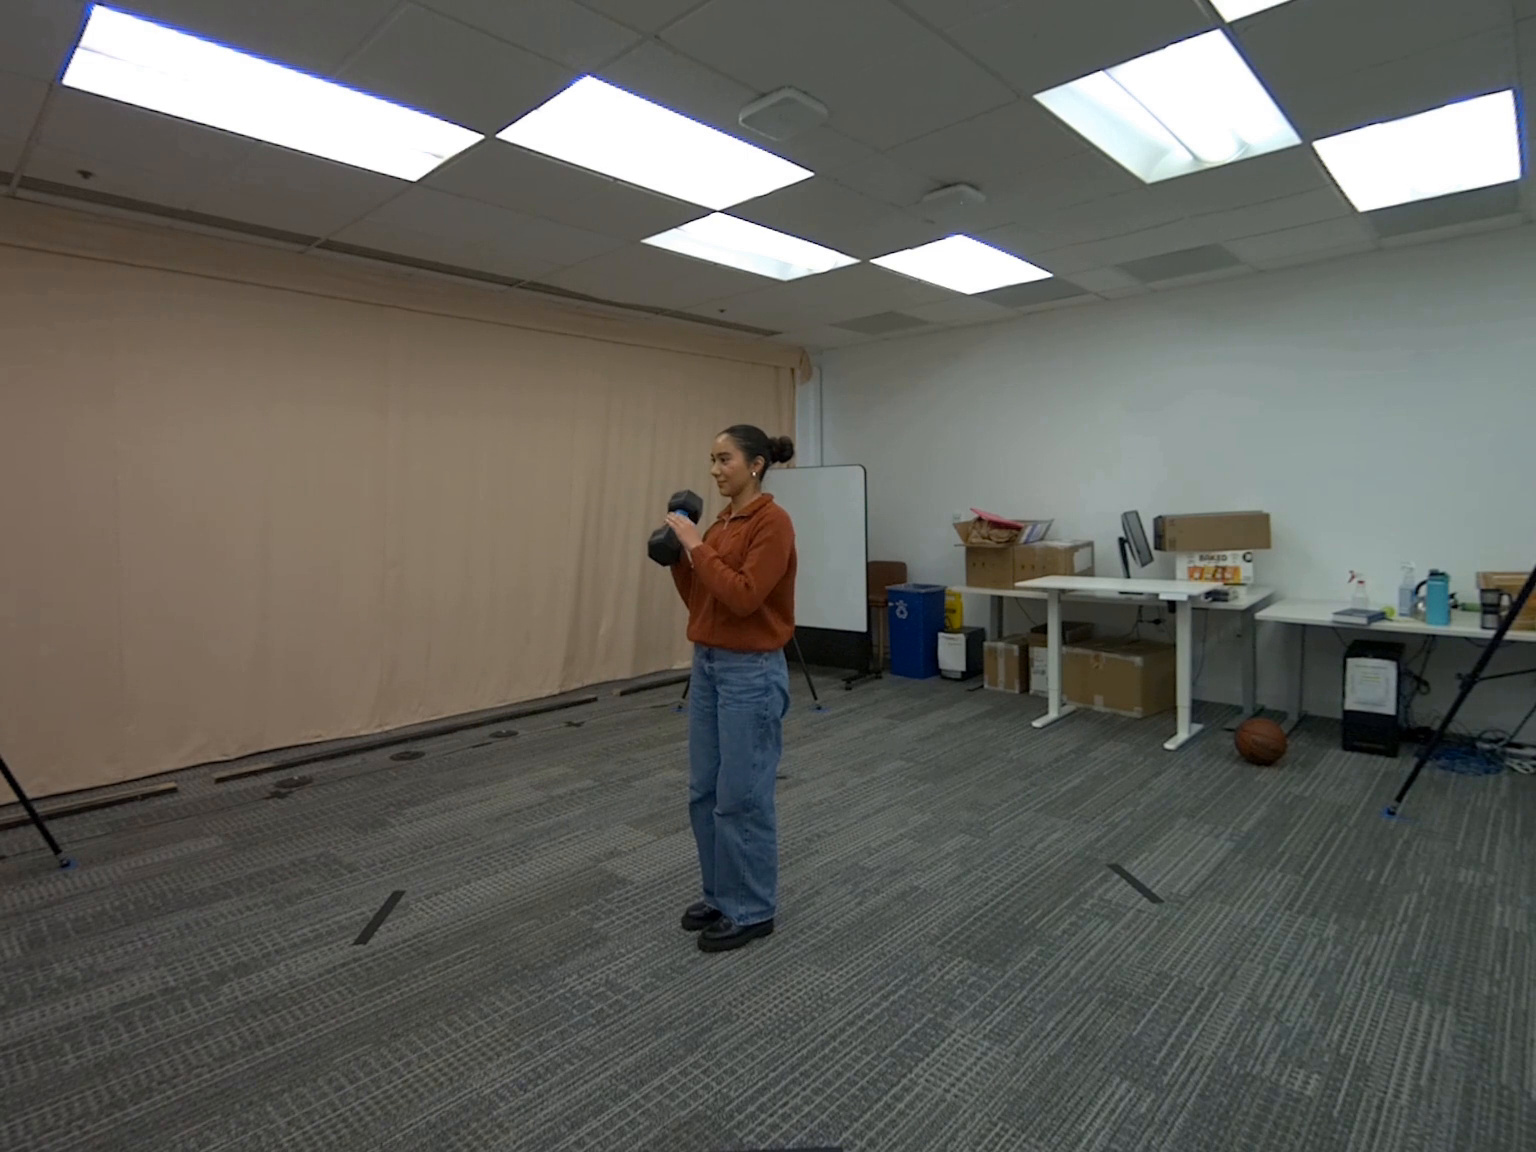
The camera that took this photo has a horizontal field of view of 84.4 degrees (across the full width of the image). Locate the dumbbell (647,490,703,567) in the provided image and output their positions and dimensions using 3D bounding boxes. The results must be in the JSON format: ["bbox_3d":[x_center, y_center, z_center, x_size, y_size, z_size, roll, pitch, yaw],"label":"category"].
[{"bbox_3d":[-0.296,-0.158,2.769,0.121,0.109,0.295,33,41,-11],"label":"dumbbell"}]
